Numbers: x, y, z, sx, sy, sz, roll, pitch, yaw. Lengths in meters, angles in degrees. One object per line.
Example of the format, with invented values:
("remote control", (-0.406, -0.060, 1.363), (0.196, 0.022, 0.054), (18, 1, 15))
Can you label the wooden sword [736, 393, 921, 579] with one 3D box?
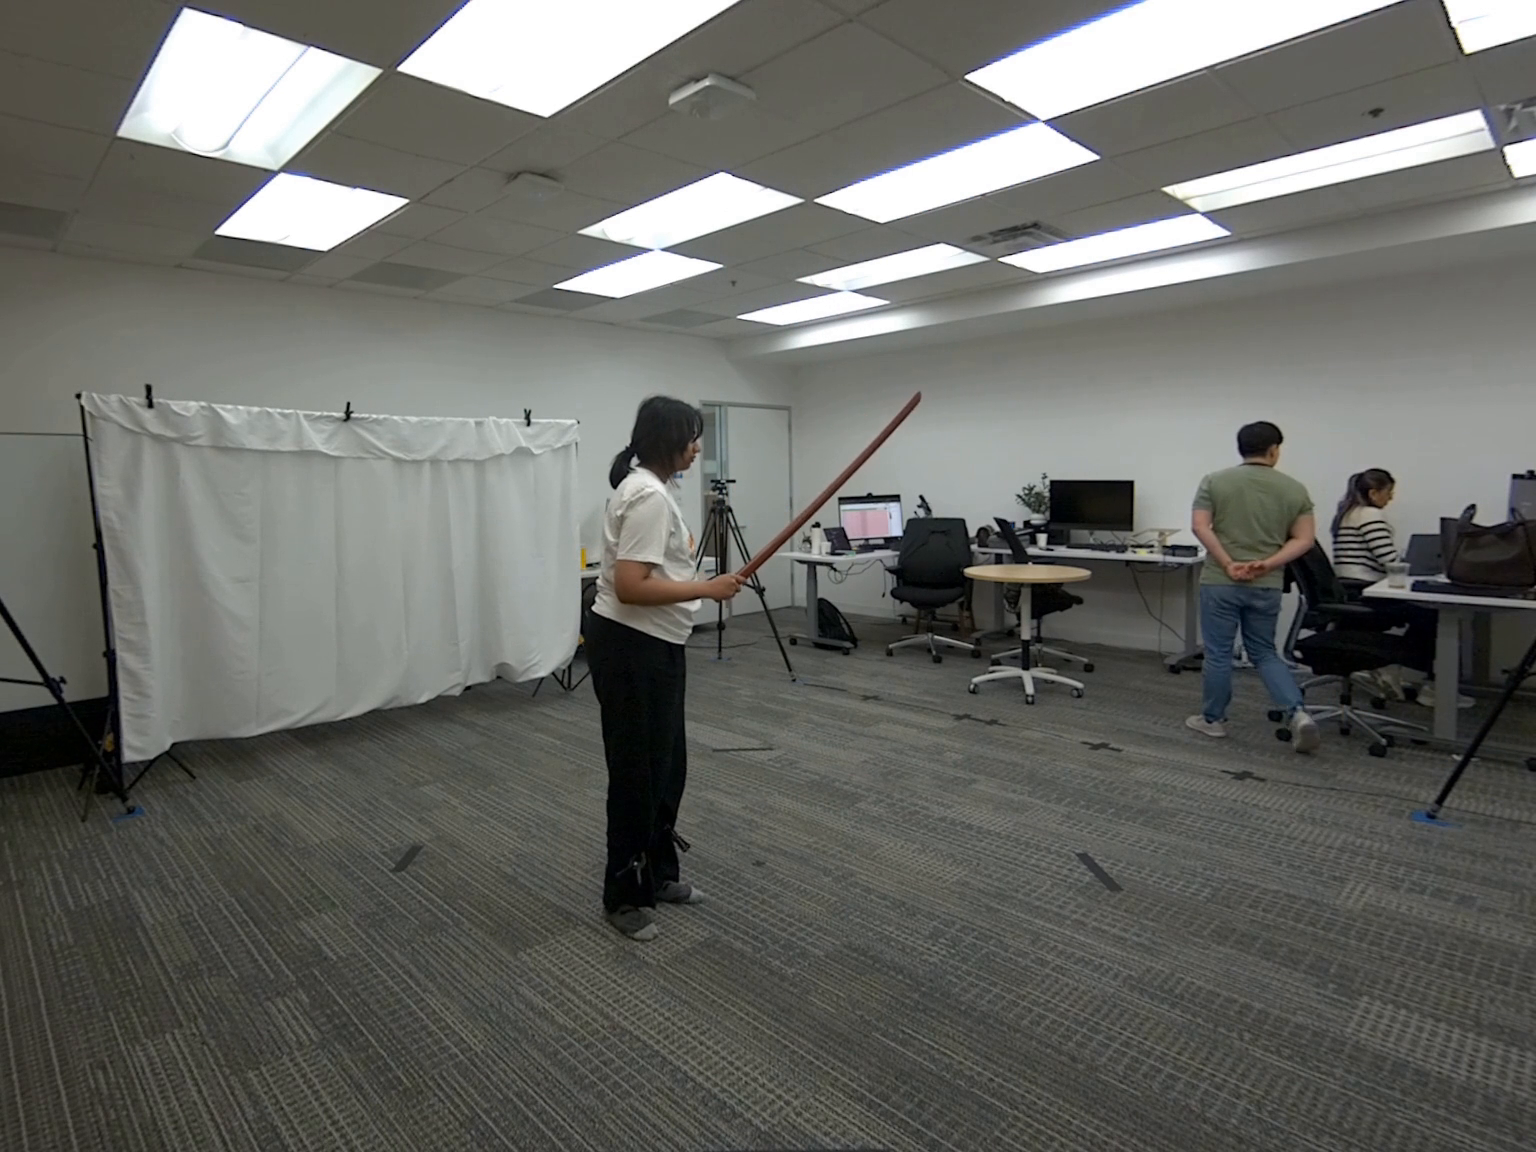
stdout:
("wooden sword", (0.198, -0.278, 2.809), (1.024, 0.024, 0.052), (-47, 11, -16))
